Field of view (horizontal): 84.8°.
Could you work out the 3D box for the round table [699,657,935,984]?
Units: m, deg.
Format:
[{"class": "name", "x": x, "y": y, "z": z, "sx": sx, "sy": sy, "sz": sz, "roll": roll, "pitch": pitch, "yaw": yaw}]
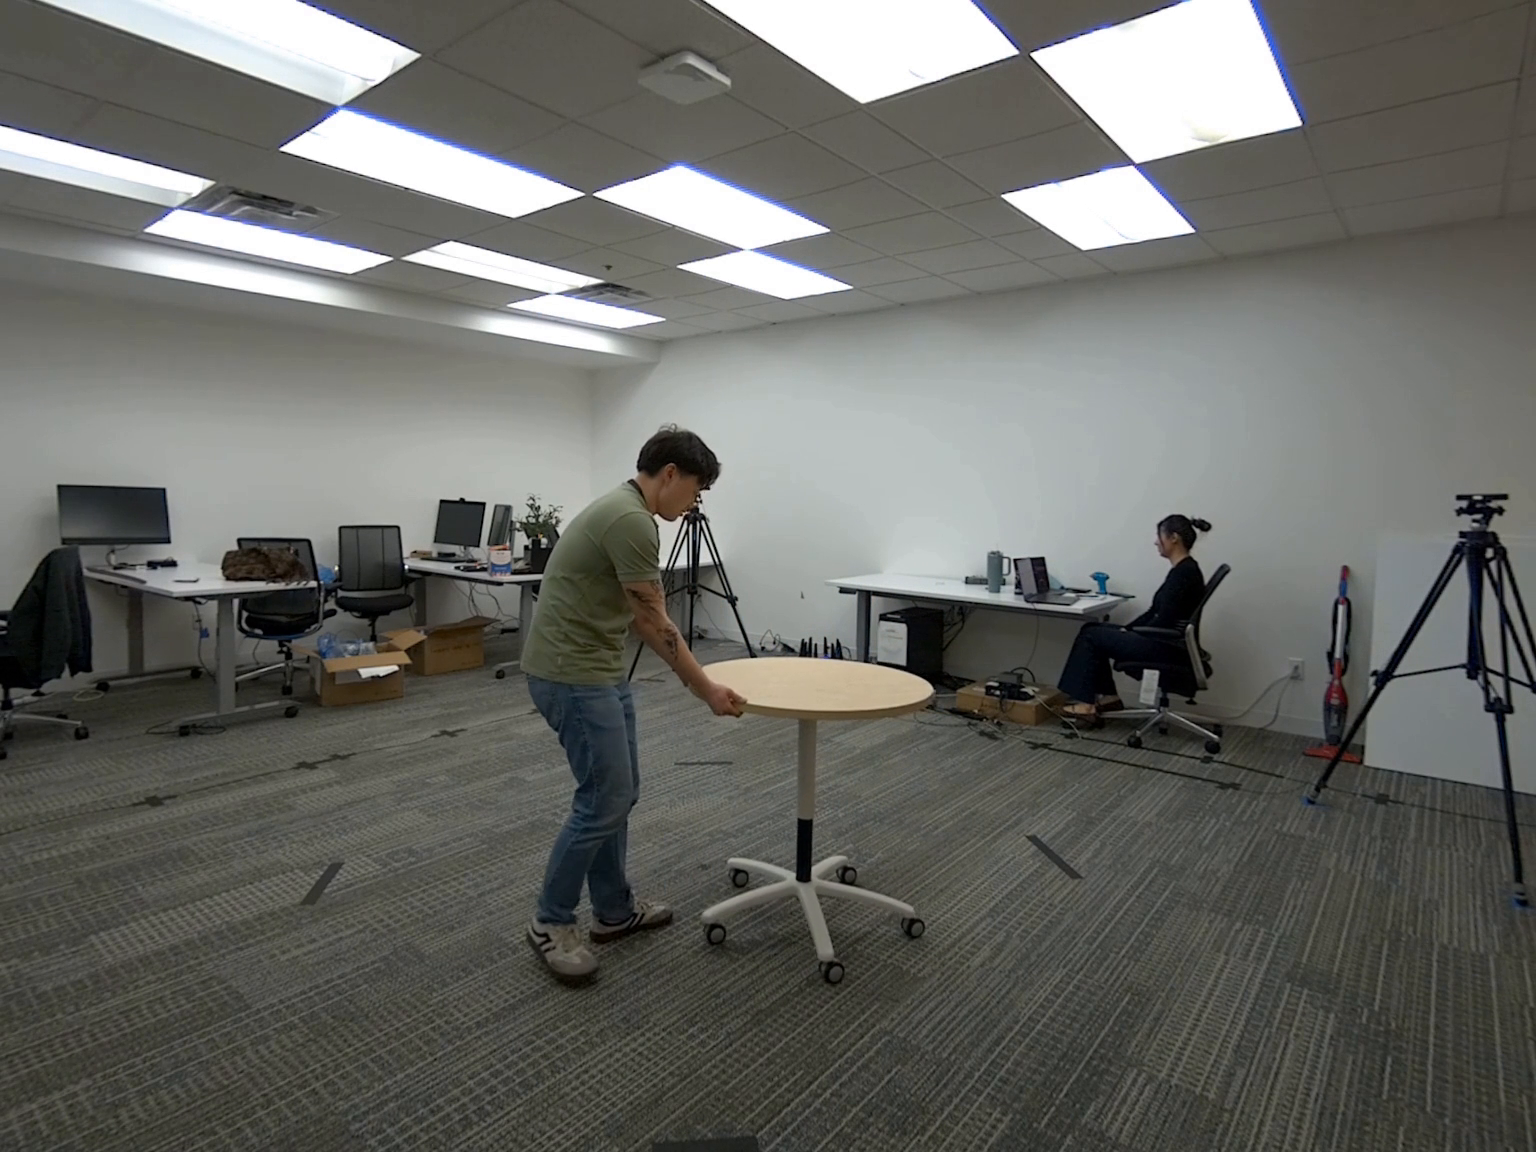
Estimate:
[{"class": "round table", "x": 0.124, "y": 0.724, "z": 2.712, "sx": 0.763, "sy": 0.792, "sz": 0.767, "roll": 1, "pitch": 4, "yaw": -2}]
